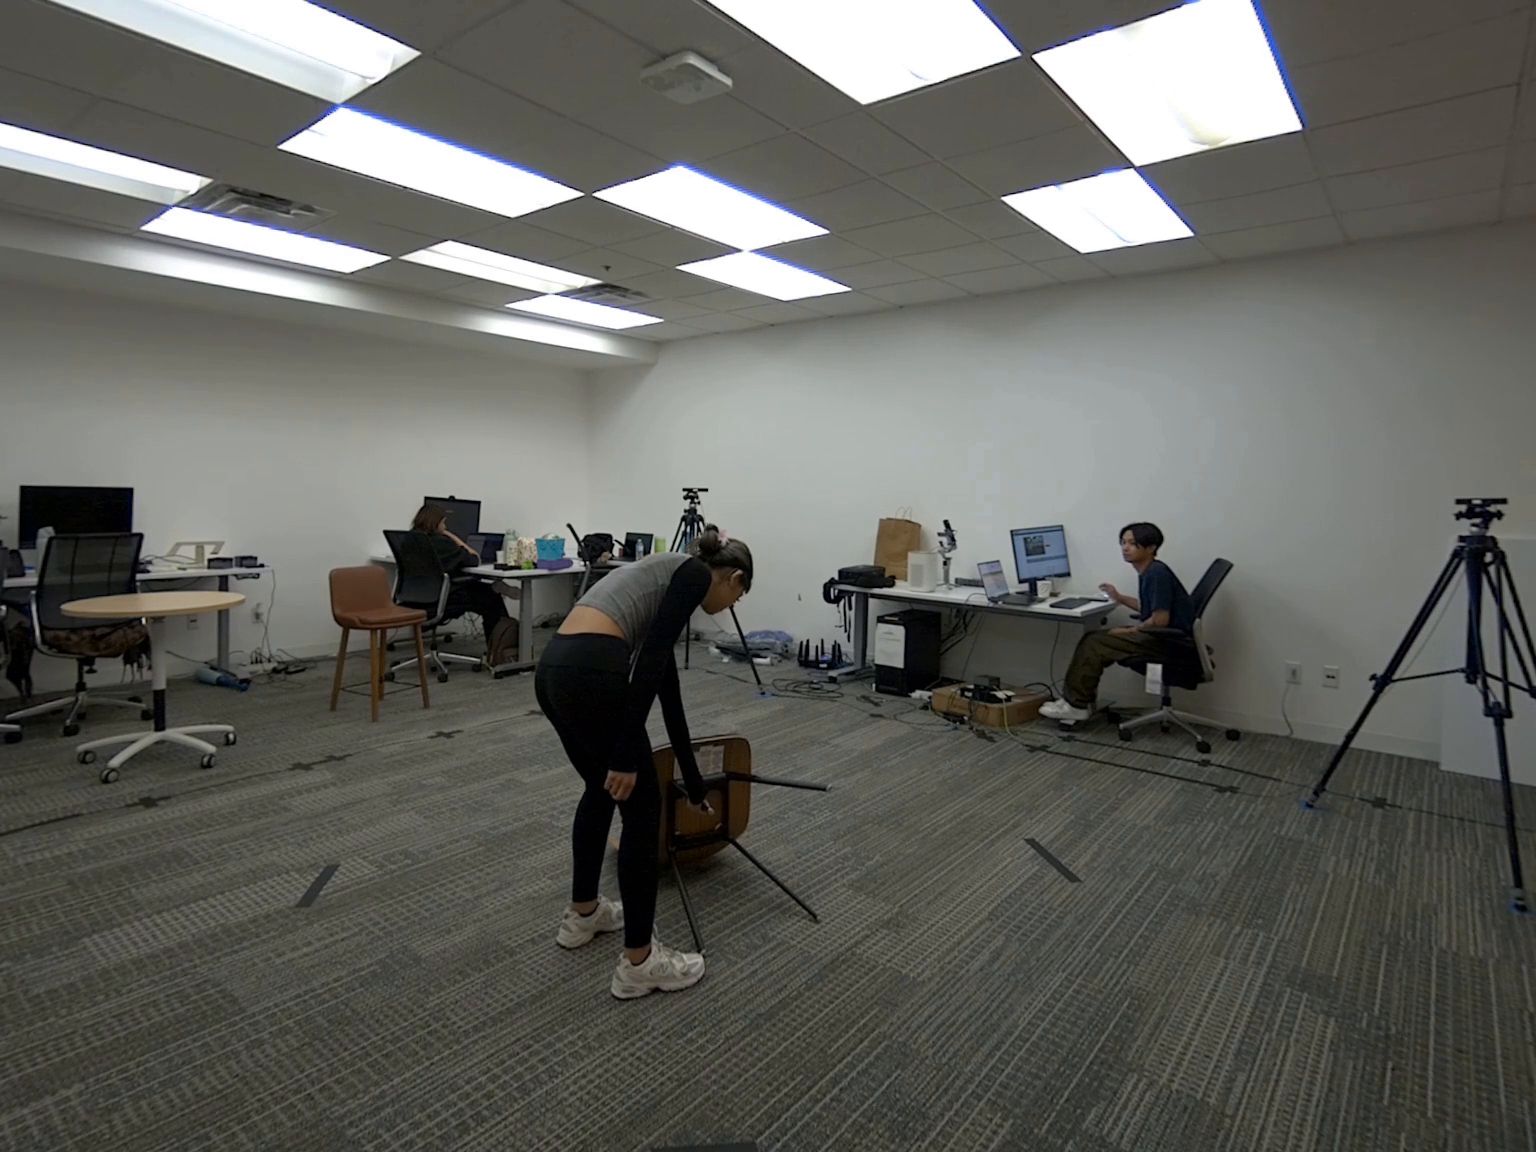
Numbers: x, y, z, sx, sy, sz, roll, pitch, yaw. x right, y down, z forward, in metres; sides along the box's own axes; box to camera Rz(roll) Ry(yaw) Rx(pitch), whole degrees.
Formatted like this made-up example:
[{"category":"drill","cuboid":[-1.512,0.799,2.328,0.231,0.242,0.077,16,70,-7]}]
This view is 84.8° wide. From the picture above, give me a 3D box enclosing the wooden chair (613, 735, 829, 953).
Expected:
[{"category":"wooden chair","cuboid":[-0.246,0.820,2.971,0.465,0.522,0.905,-1,5,-33]}]
